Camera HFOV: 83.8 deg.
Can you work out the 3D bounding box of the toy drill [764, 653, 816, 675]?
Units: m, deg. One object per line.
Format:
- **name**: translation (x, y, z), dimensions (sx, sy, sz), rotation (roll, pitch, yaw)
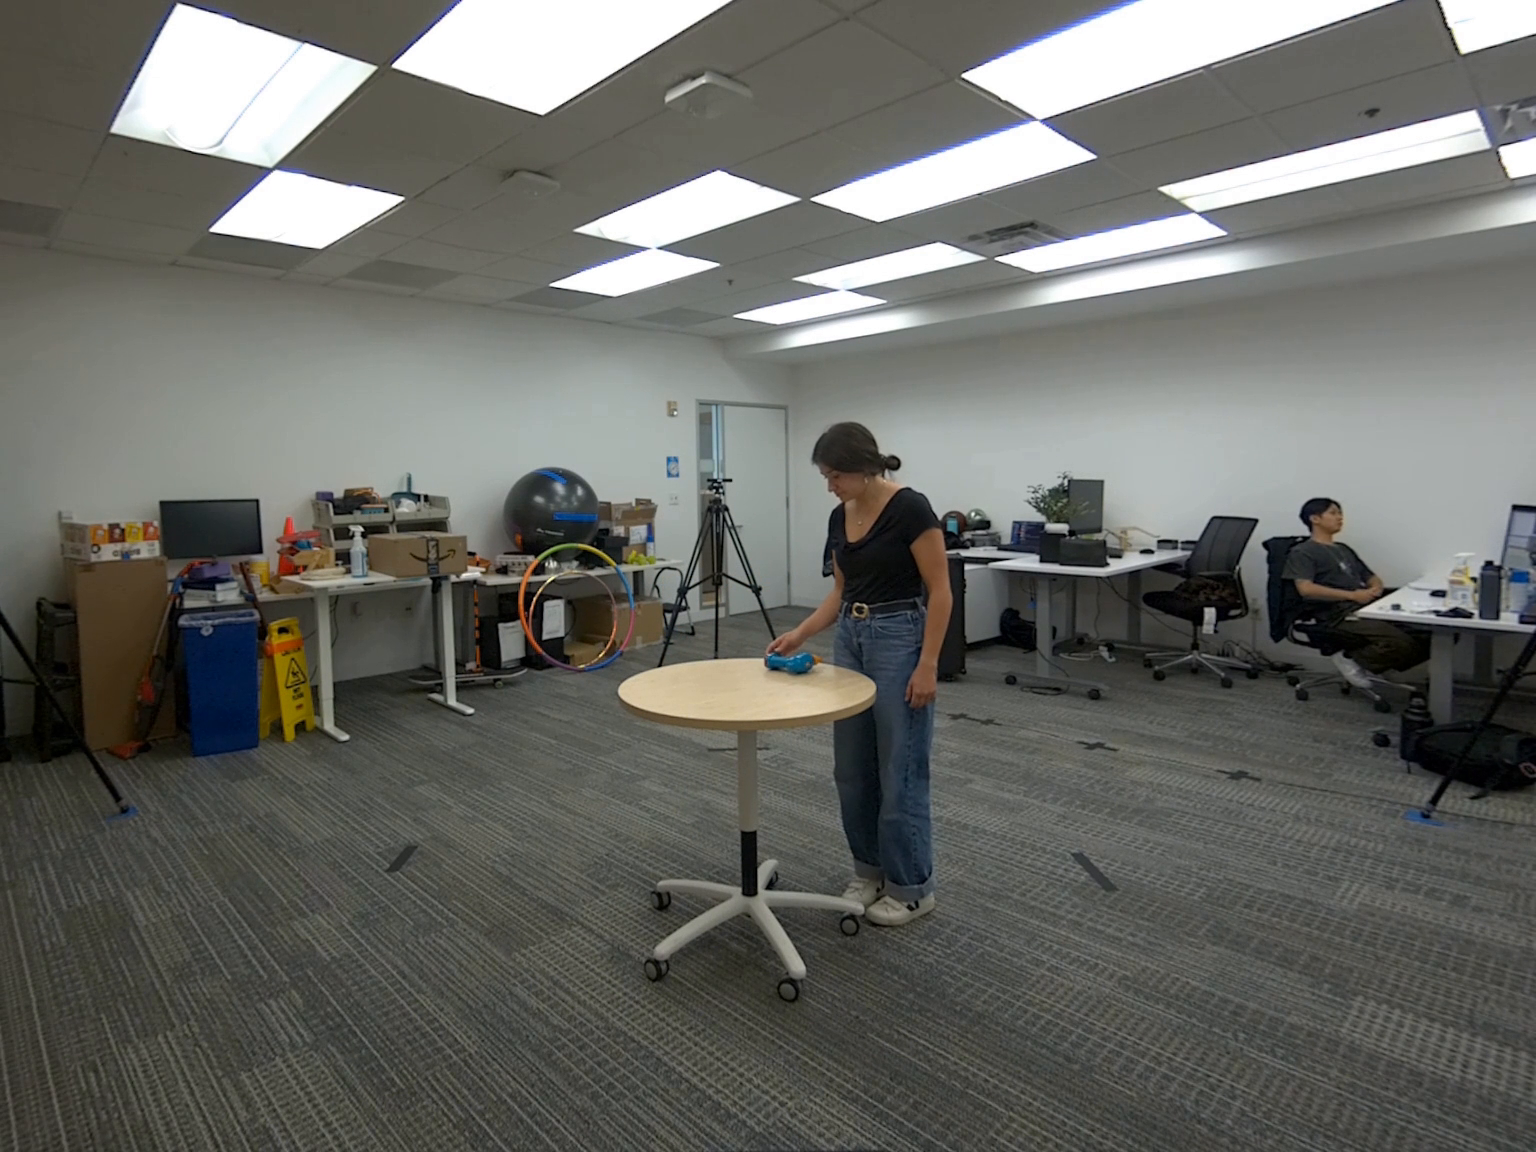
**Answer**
- **toy drill**: translation (0.095, 0.277, 2.744), dimensions (0.165, 0.061, 0.150), rotation (-8, 7, -43)
